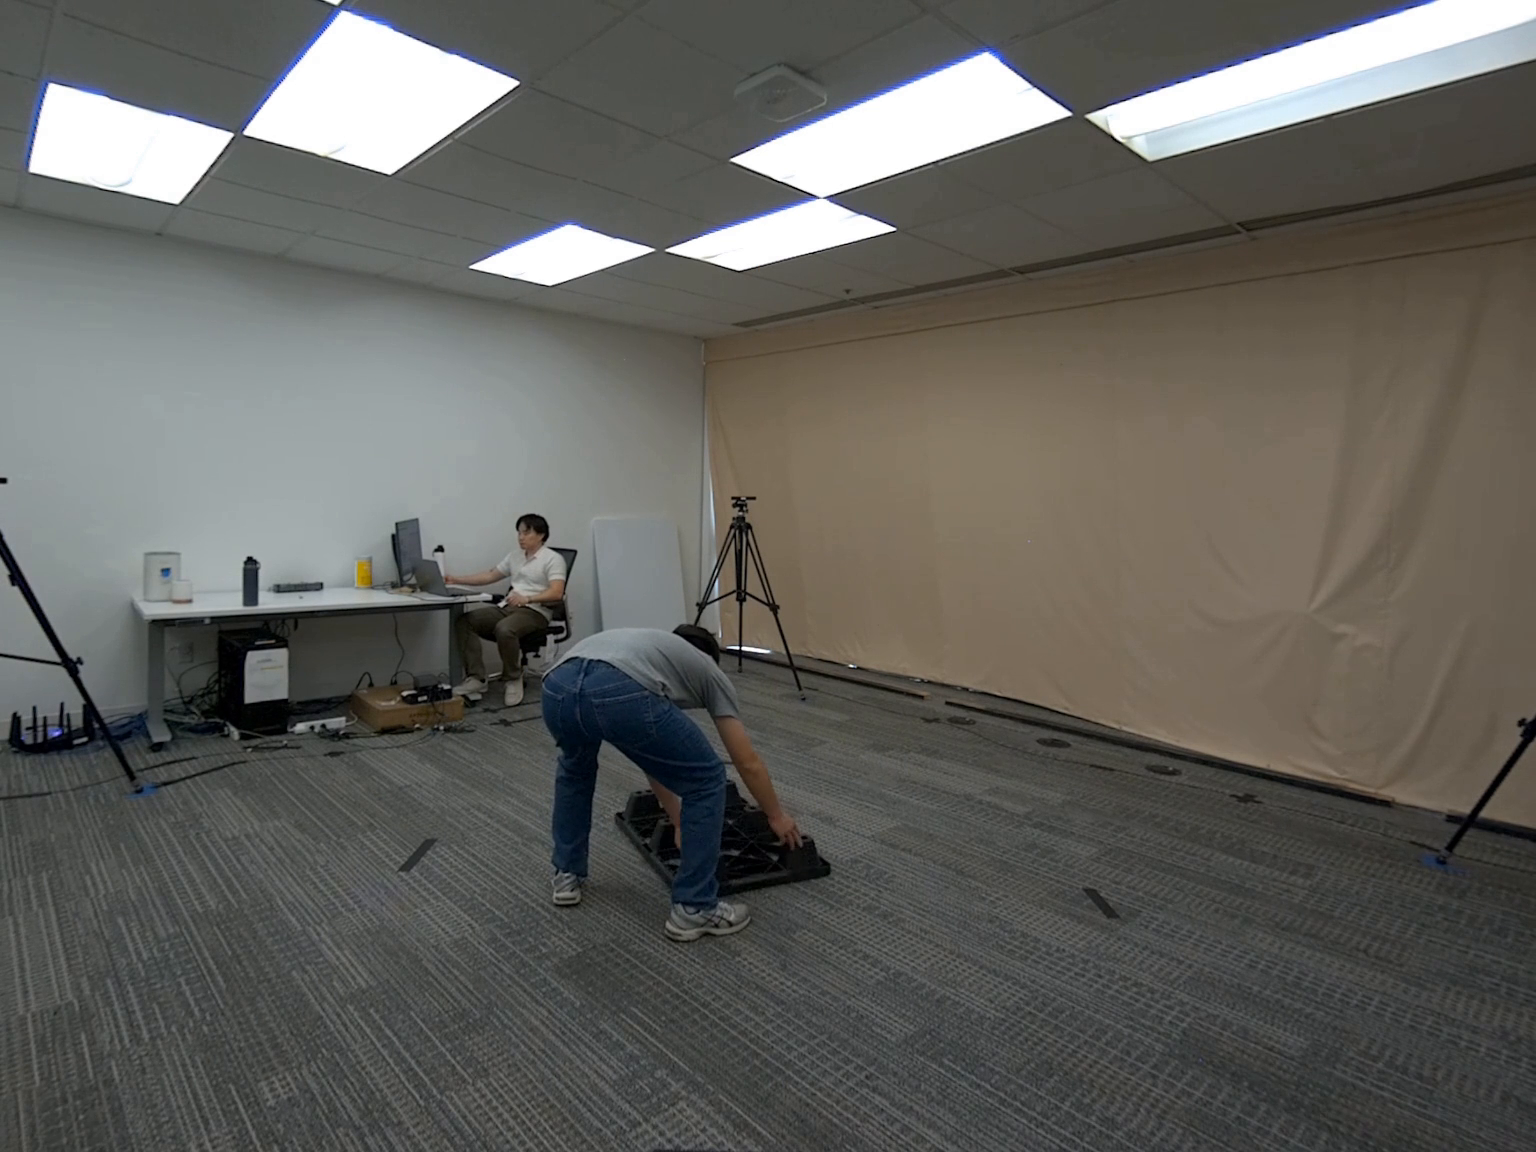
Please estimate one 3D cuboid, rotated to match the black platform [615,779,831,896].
[{"bbox_3d":[-0.207,1.014,3.351,0.594,0.143,0.823,-2,7,-27],"label":"black platform"}]
